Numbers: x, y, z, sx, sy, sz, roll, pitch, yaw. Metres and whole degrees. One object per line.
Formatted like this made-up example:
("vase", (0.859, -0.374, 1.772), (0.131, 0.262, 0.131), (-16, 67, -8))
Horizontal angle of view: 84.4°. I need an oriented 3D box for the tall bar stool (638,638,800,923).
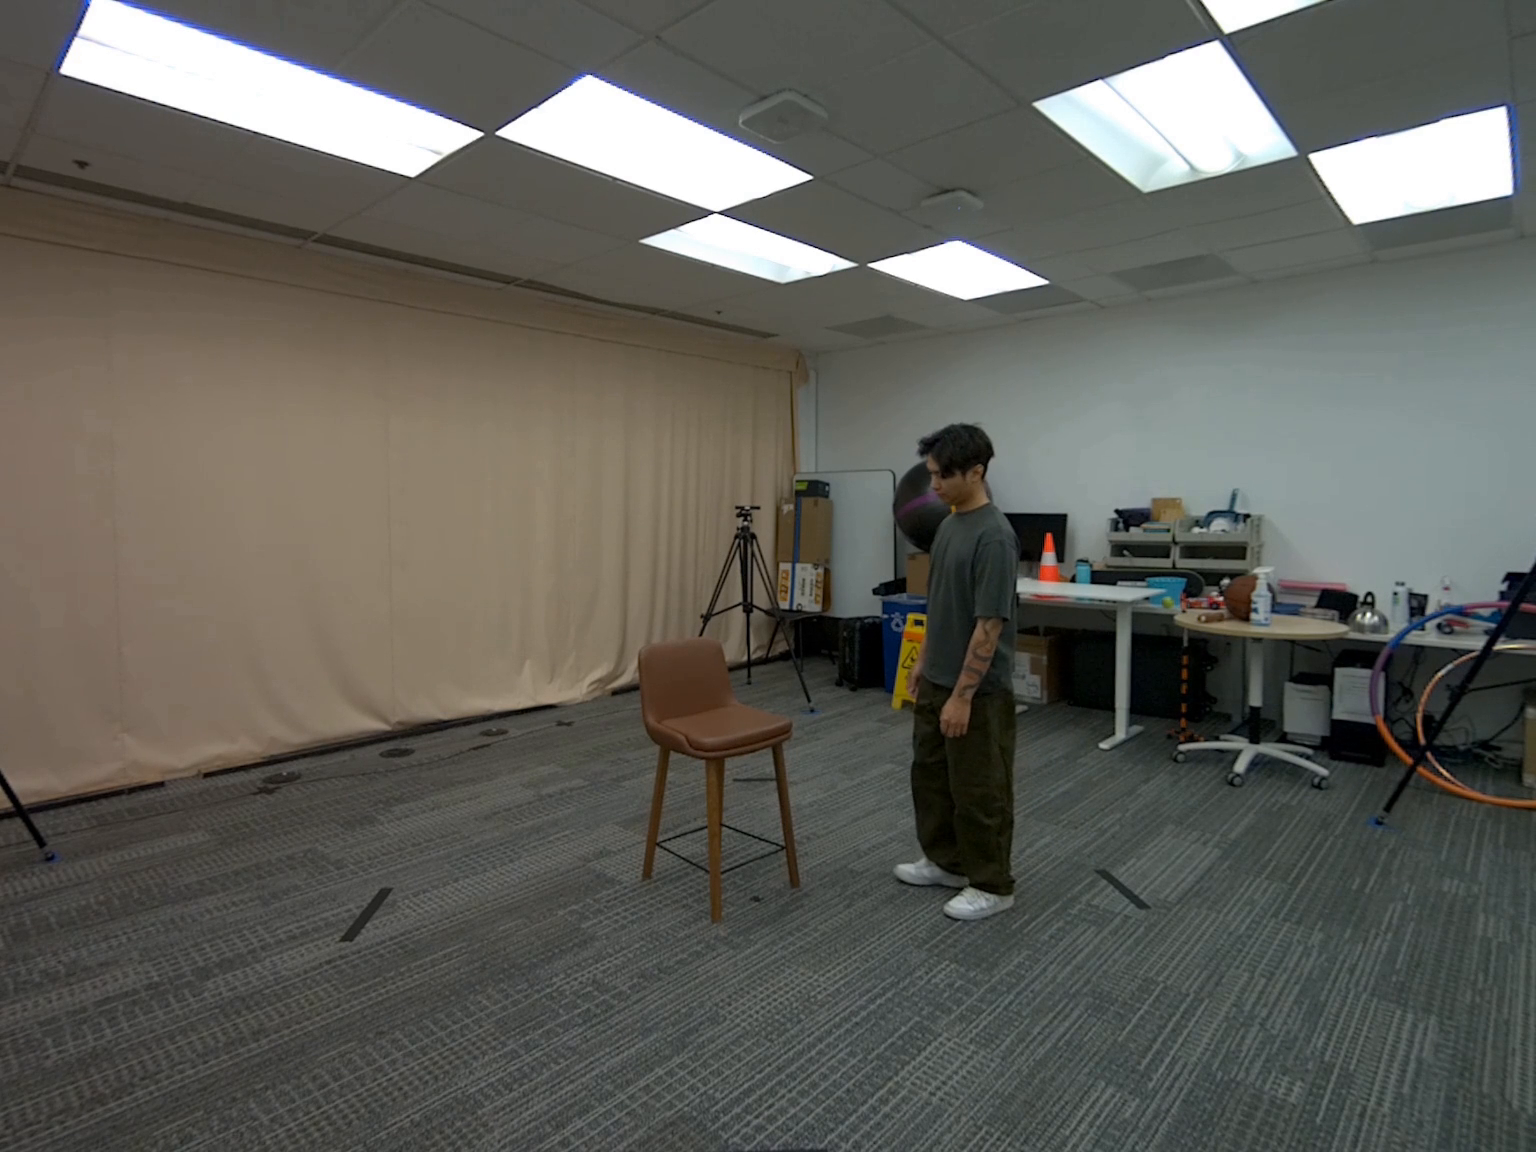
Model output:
("tall bar stool", (-0.189, 0.701, 3.094), (0.442, 0.889, 0.483), (-3, 2, -43))
